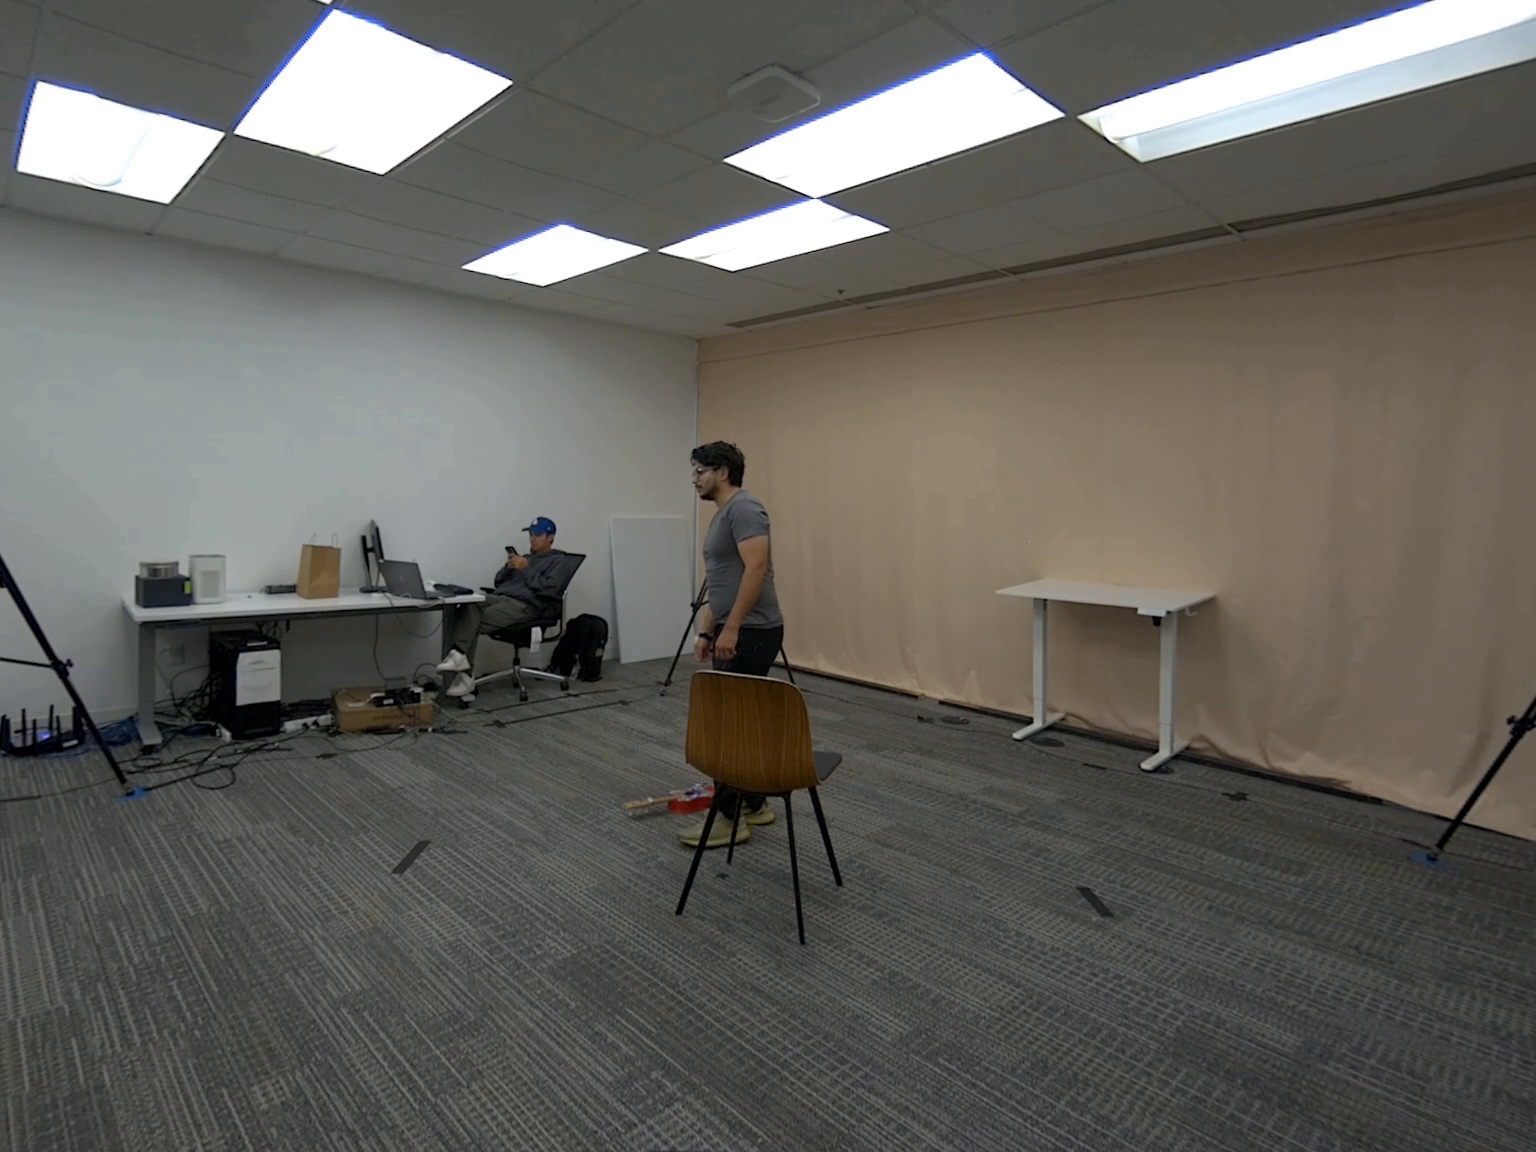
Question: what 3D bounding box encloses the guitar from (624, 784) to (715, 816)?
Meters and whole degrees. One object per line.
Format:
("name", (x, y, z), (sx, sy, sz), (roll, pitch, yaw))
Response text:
("guitar", (-0.439, 1.007, 3.783), (0.489, 0.070, 0.197), (-1, 6, -25))
